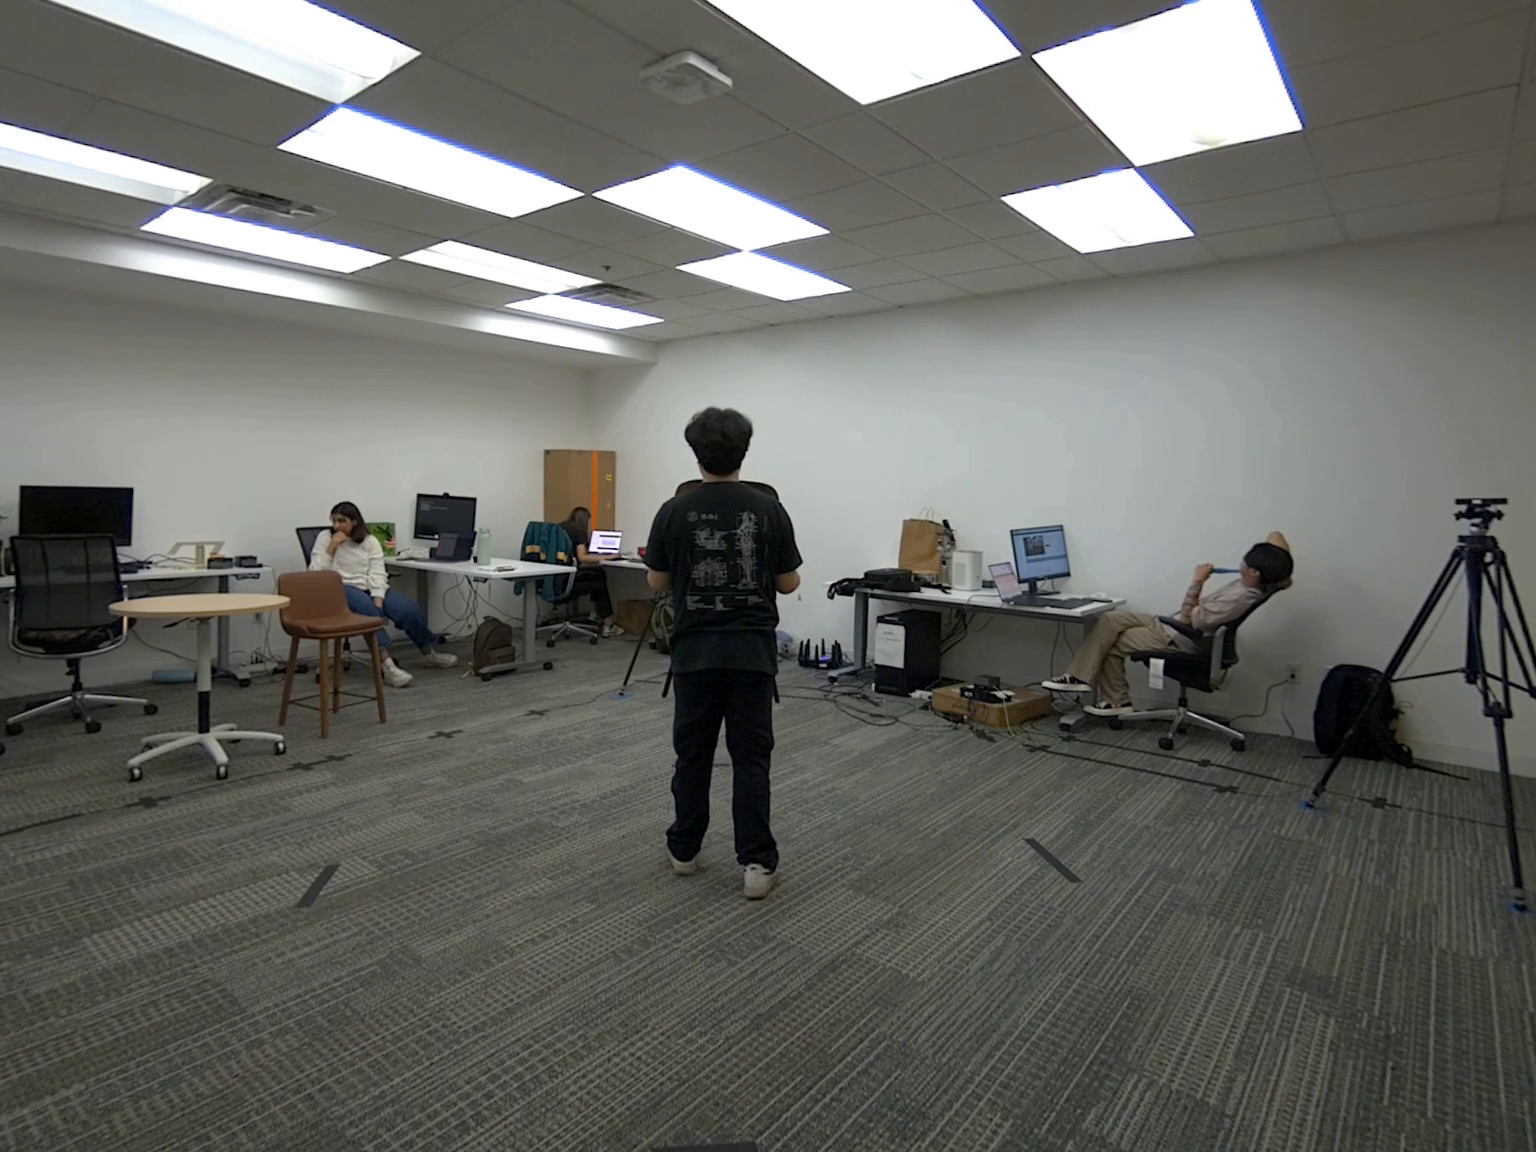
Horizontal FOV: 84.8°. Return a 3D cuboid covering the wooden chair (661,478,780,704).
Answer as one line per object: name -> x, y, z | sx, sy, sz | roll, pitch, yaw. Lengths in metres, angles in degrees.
wooden chair -> -0.175, 0.022, 3.427 | 0.480, 0.869, 0.526 | 2, 10, 2
